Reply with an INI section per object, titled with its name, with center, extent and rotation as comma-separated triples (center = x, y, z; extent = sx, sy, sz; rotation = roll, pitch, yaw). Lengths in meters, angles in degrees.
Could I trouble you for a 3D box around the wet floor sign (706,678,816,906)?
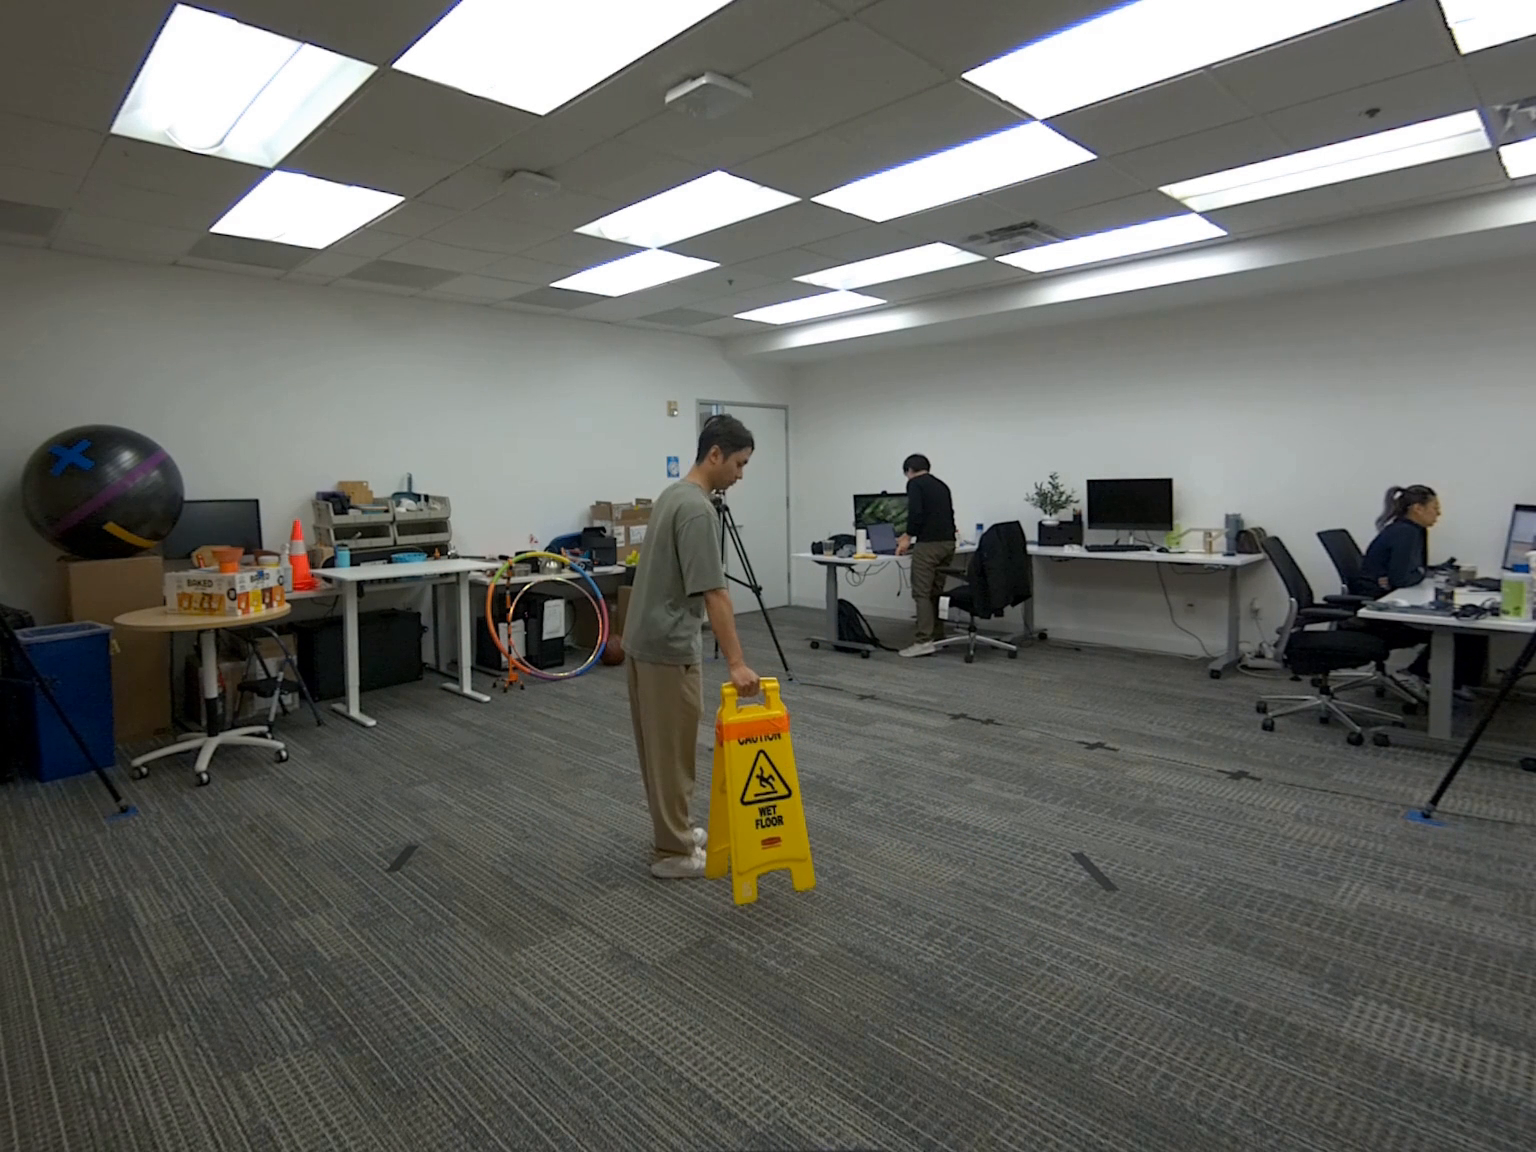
[wet floor sign]
center = -0.039, 0.661, 2.753
extent = 0.276, 0.646, 0.296
rotation = -2, 0, -26
